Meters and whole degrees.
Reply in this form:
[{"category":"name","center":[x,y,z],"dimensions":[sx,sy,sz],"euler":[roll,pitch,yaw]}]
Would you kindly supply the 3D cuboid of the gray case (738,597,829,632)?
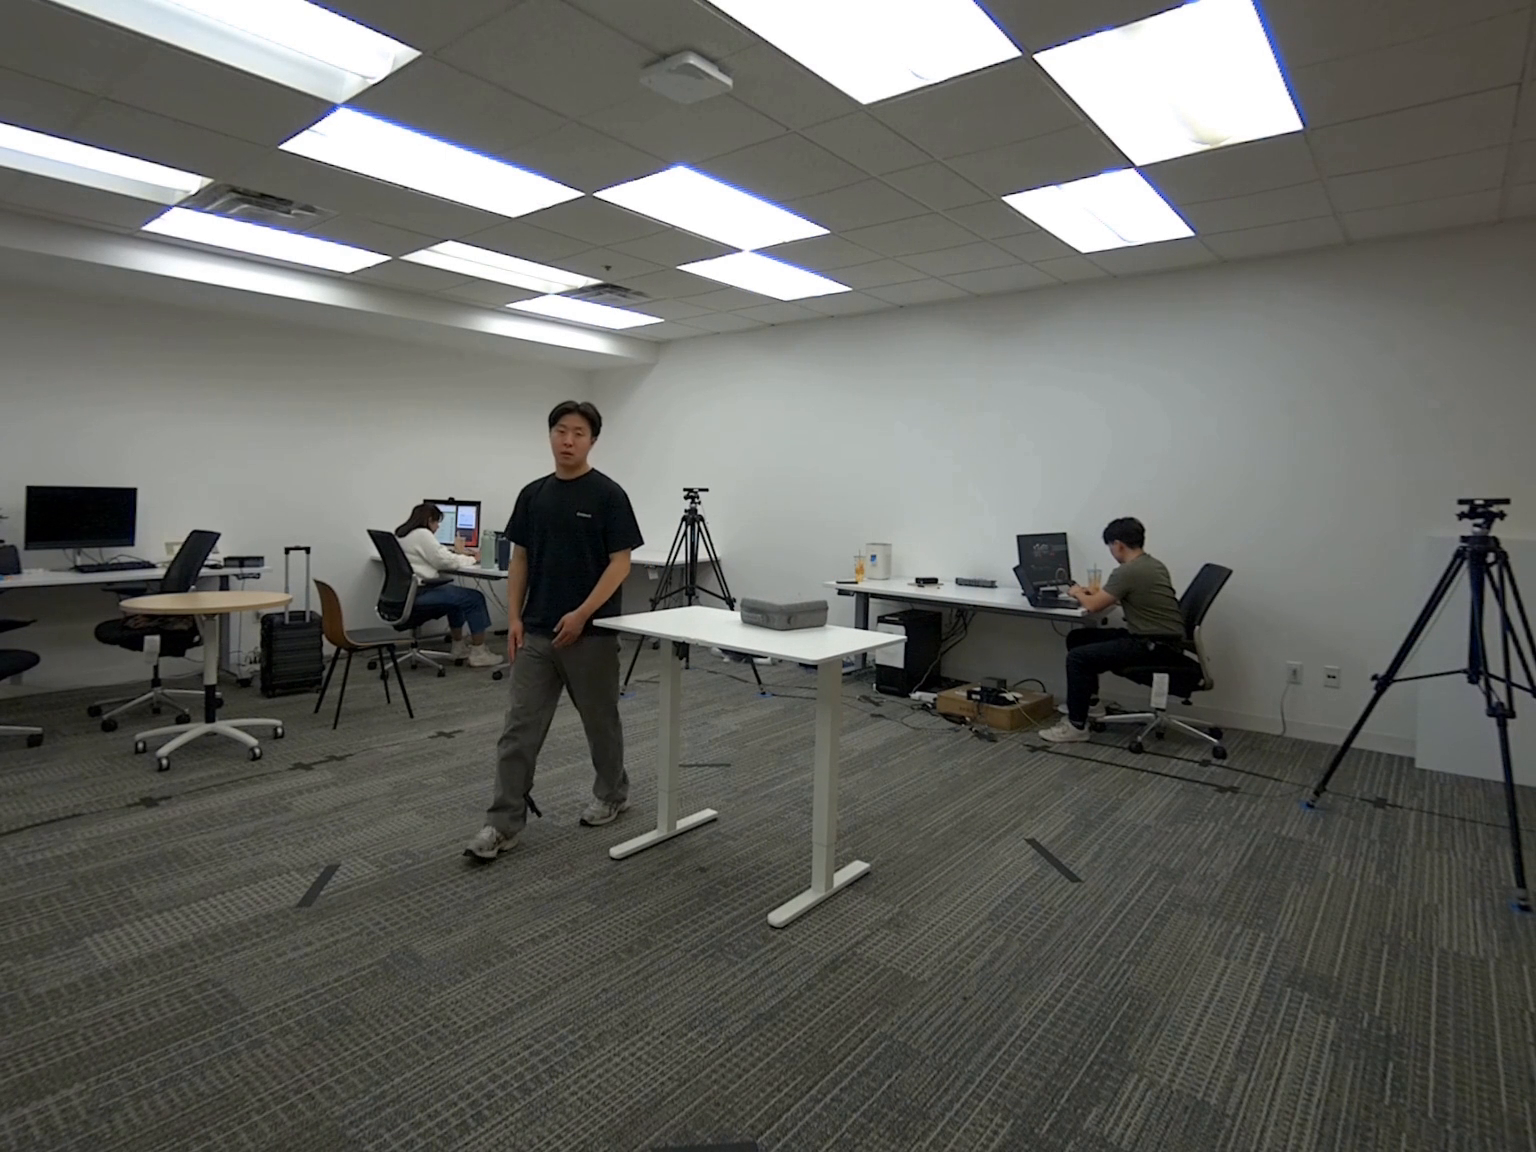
[{"category":"gray case","center":[0.049,0.128,3.223],"dimensions":[0.253,0.104,0.266],"euler":[-4,9,-38]}]
